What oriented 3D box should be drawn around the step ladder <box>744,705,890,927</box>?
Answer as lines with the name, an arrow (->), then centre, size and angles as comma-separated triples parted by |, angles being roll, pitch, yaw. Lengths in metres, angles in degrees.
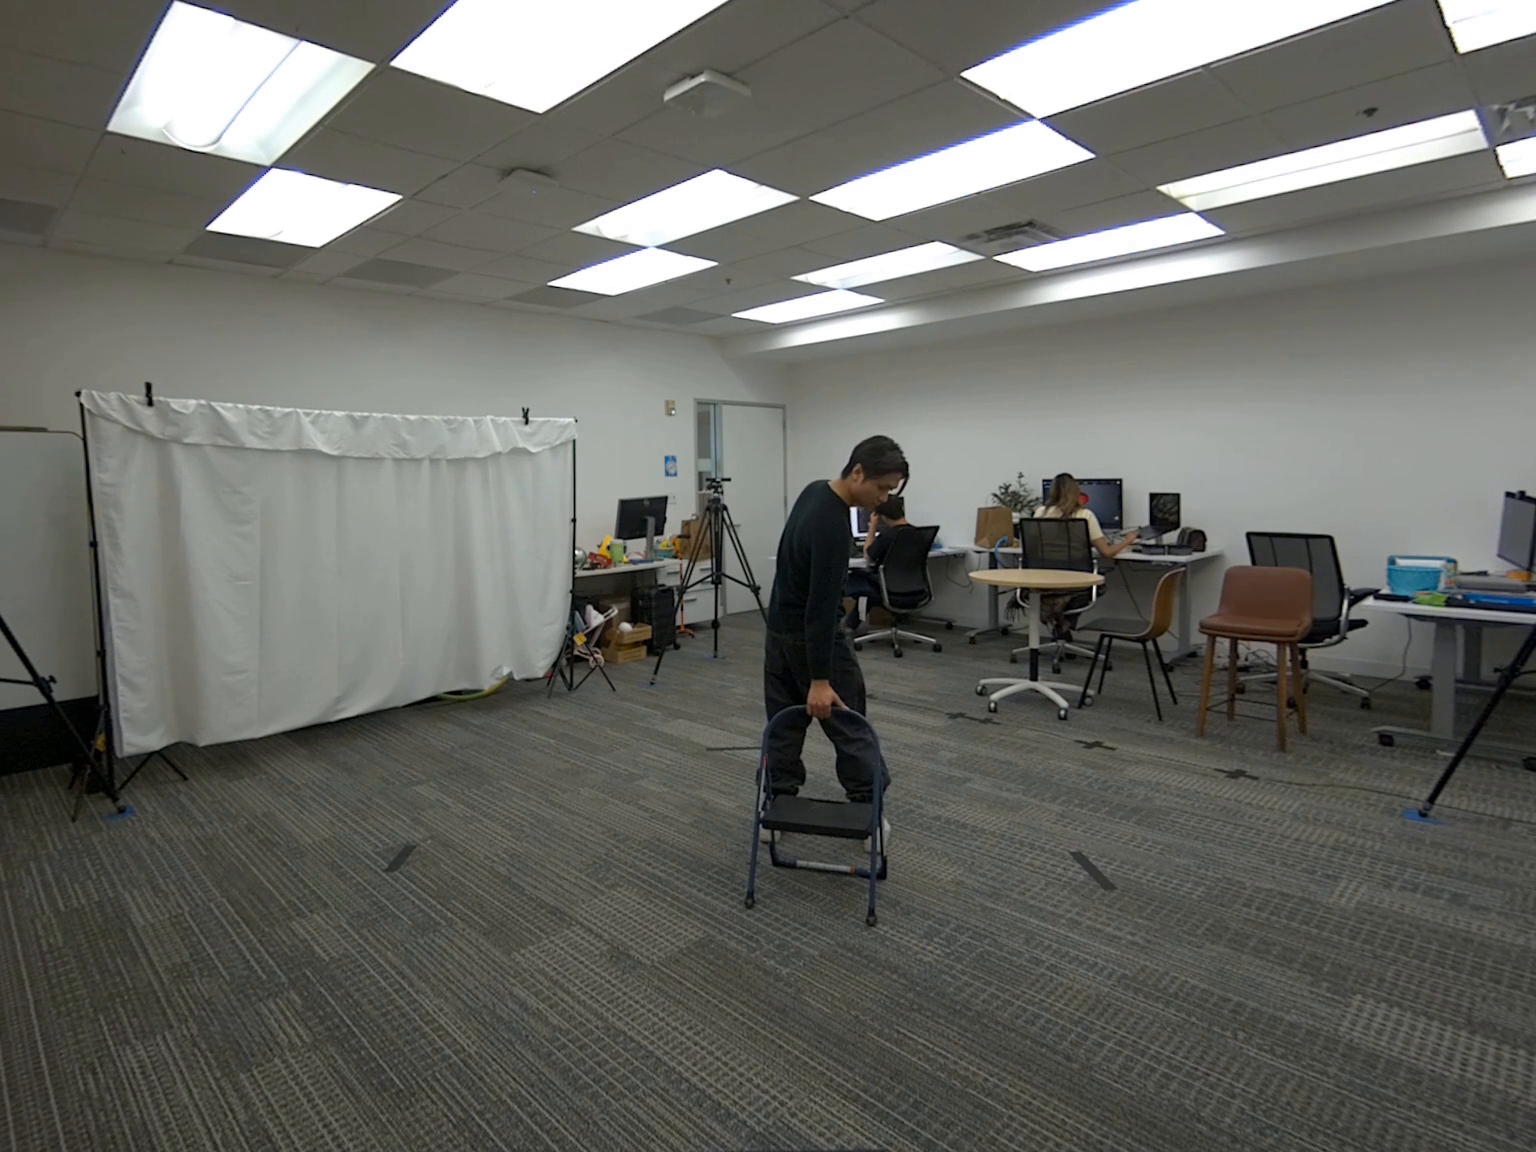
step ladder -> 0.173, 0.760, 2.864 | 0.438, 0.605, 0.344 | 1, 3, 17
